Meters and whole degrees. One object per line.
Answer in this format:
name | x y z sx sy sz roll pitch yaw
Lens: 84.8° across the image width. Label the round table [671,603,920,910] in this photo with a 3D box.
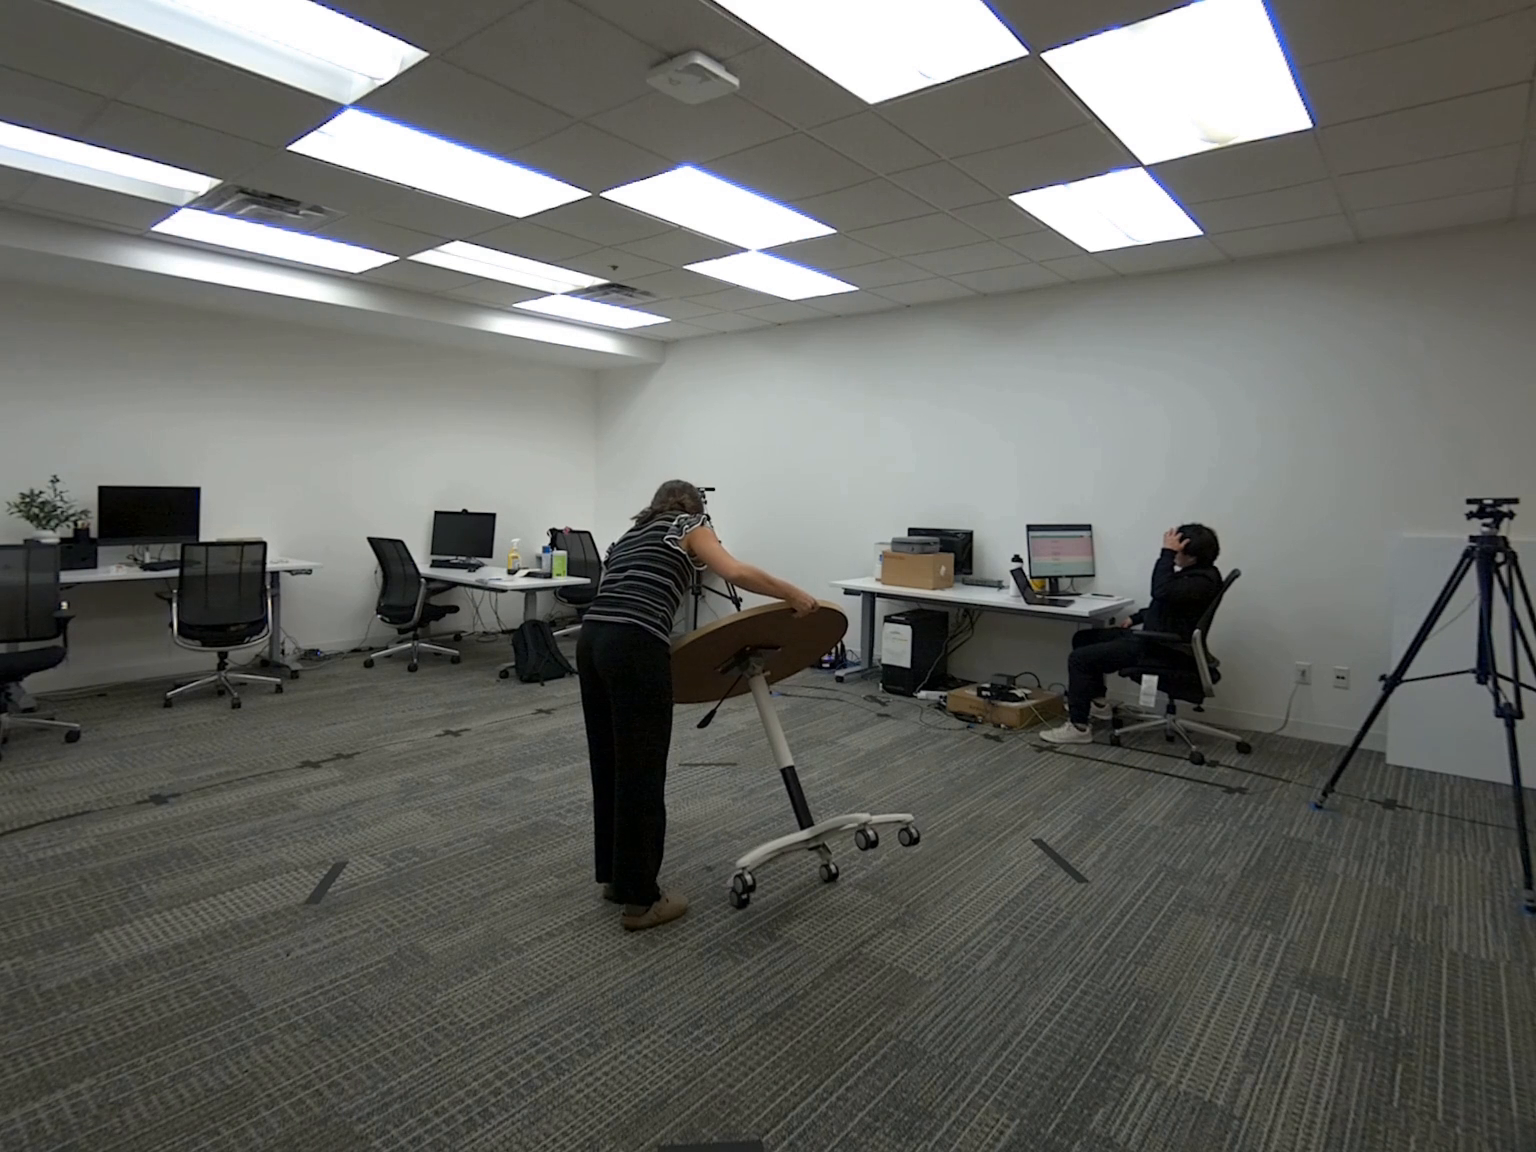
round table | 0.047 0.615 2.903 0.758 0.818 0.746 -15 -26 -9
